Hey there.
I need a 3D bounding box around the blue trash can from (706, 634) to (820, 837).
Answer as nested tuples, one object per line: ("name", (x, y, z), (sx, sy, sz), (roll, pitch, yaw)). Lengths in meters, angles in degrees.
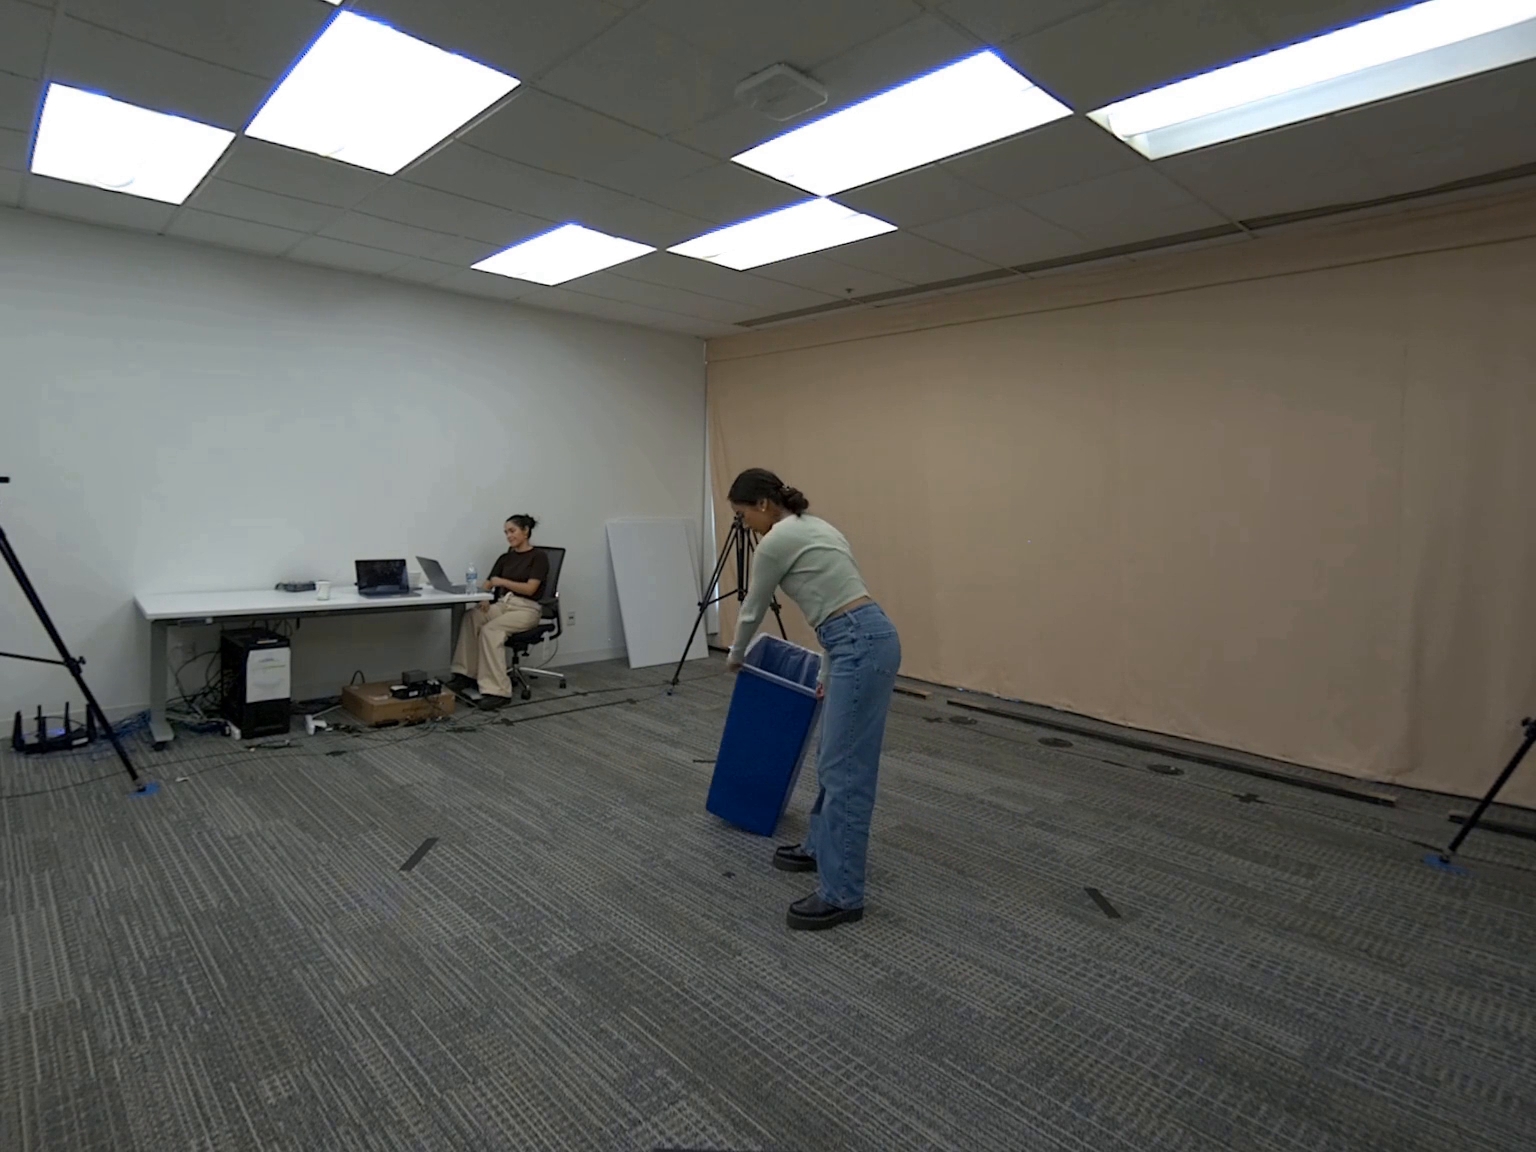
("blue trash can", (-0.004, 0.677, 3.510), (0.383, 0.707, 0.372), (19, 17, 13))
